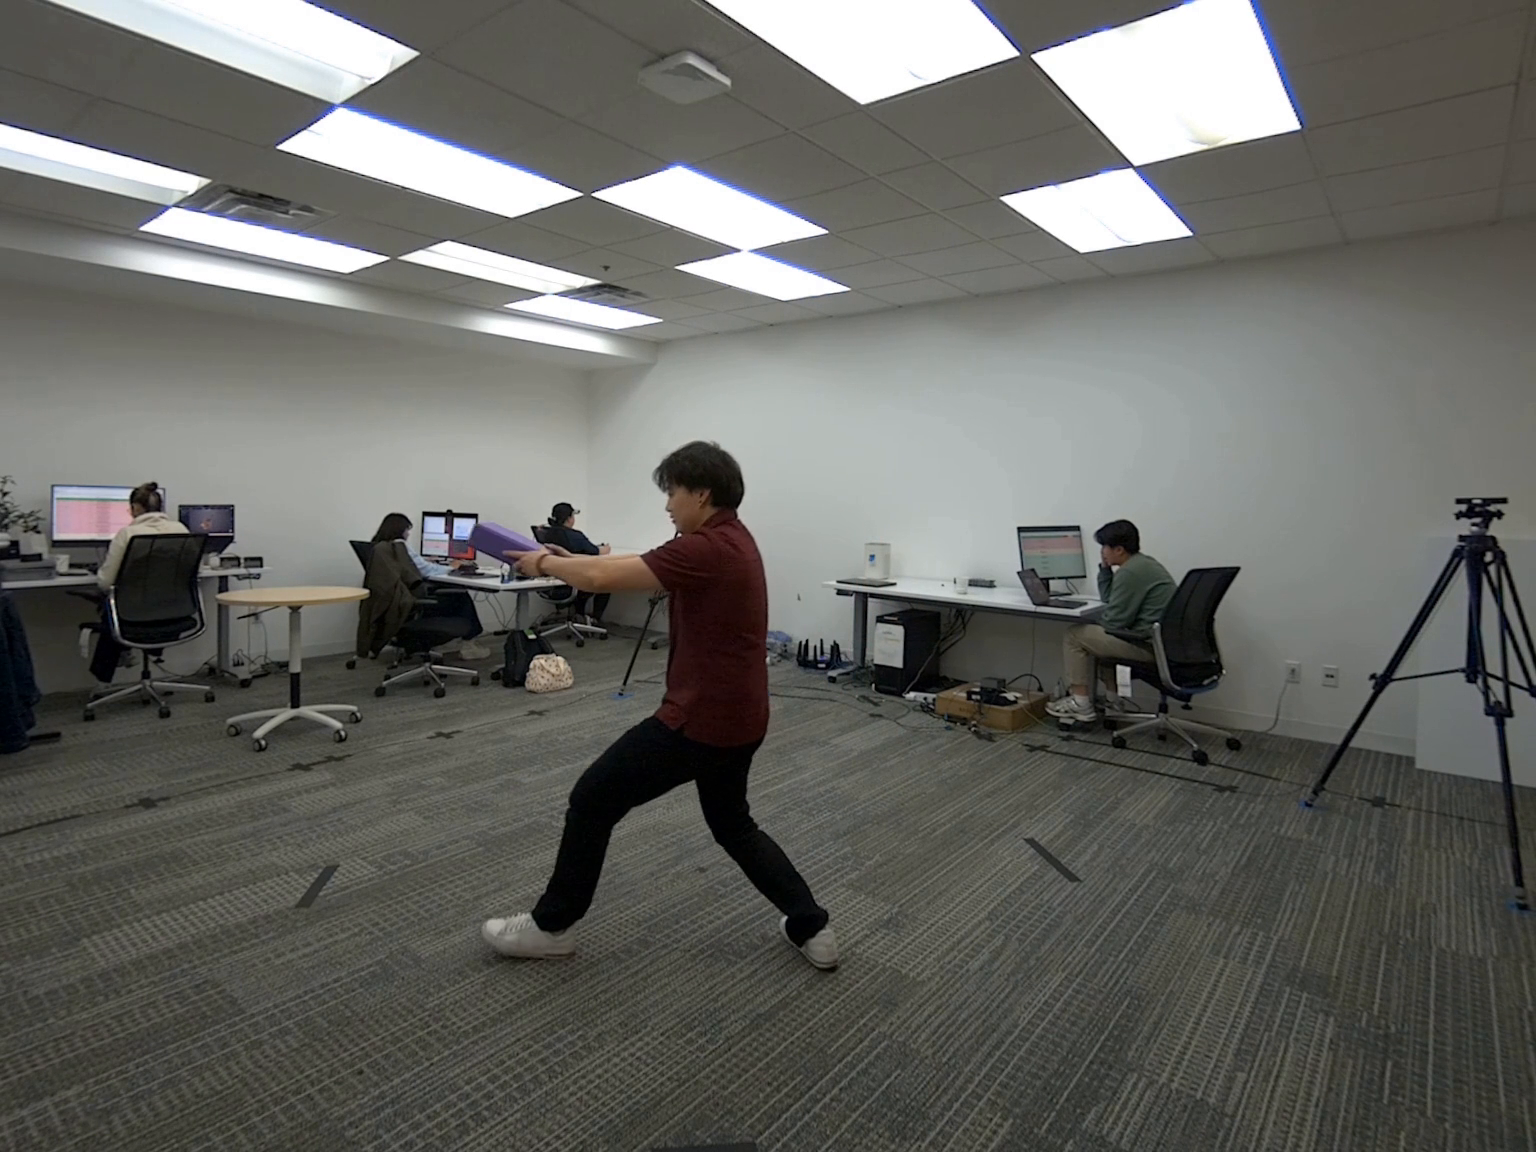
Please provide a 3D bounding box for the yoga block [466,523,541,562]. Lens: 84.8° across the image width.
[{"bbox_3d":[-0.804,-0.077,2.601,0.231,0.076,0.148,21,3,3],"label":"yoga block"}]
